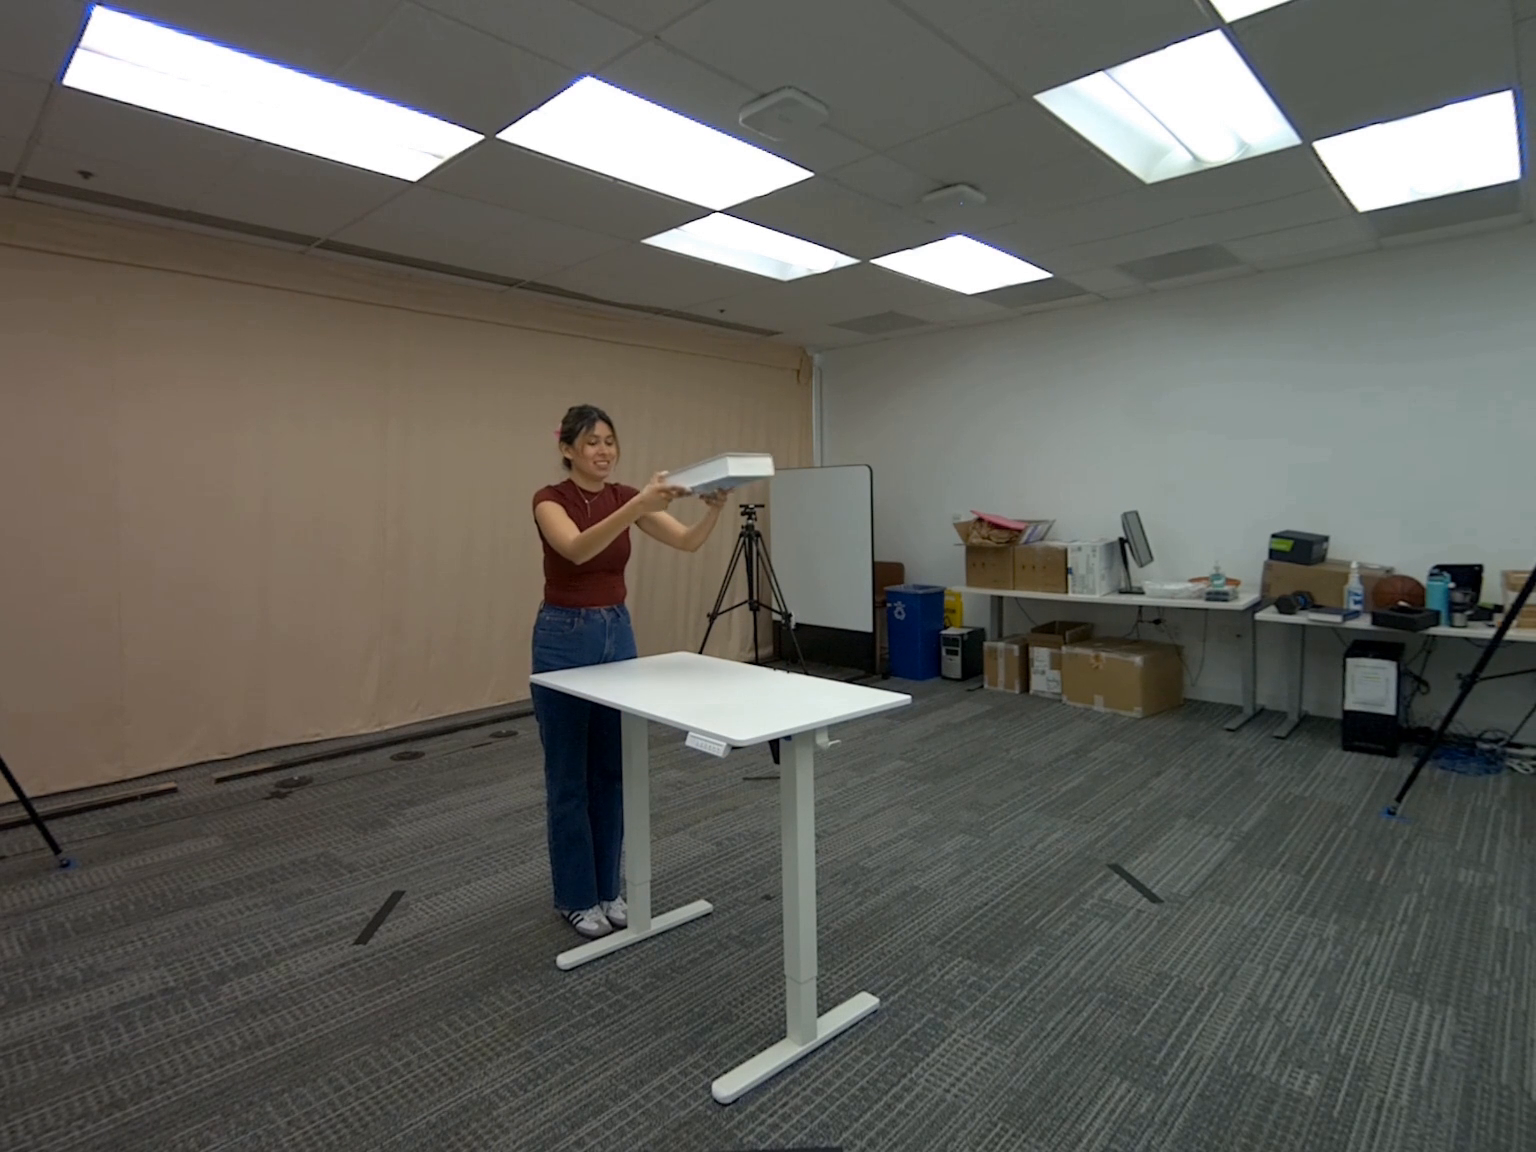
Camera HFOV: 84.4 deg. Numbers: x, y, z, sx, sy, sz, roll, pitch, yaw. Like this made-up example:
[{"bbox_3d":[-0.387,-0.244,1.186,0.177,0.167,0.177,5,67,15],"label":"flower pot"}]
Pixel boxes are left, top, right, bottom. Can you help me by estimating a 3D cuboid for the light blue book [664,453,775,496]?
[{"bbox_3d":[-0.139,-0.278,2.336,0.268,0.059,0.186,-11,-2,41],"label":"light blue book"}]
